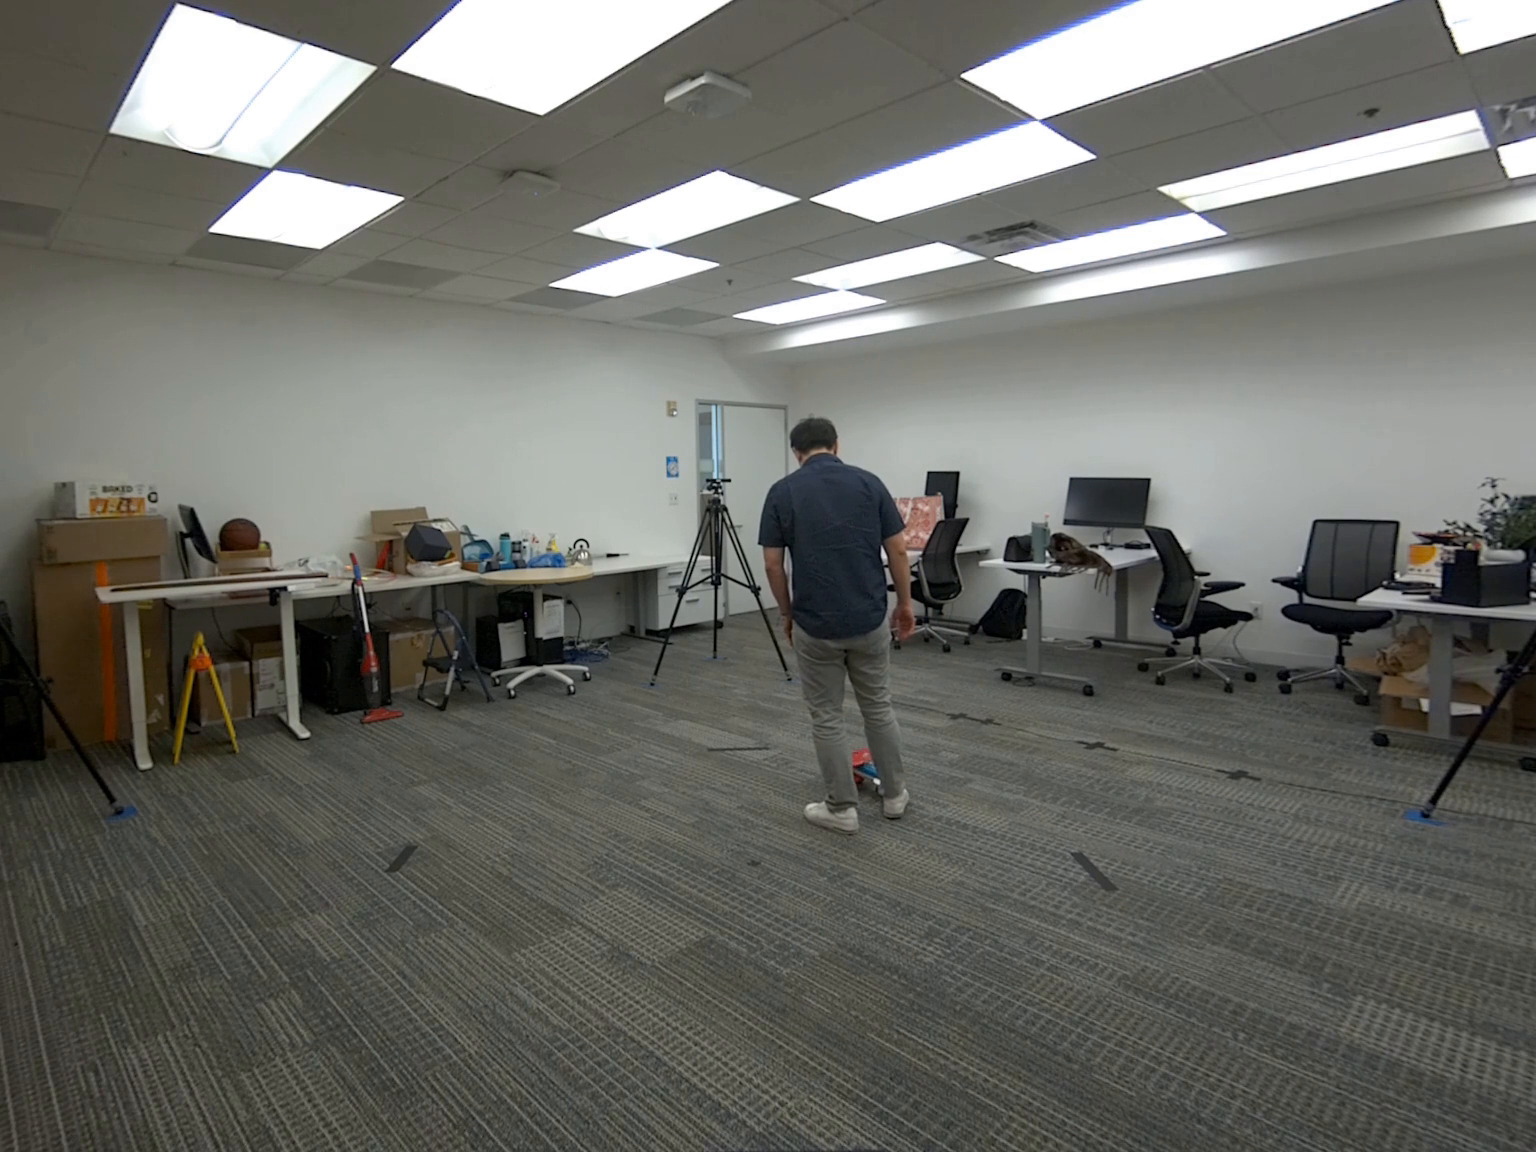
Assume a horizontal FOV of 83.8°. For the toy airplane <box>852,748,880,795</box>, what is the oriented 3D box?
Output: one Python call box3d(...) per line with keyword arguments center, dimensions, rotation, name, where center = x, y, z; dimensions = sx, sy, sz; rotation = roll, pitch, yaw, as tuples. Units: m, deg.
box3d(center=(0.450, 0.875, 3.837), dimensions=(0.264, 0.156, 0.246), rotation=(-4, 1, 21), name="toy airplane")
